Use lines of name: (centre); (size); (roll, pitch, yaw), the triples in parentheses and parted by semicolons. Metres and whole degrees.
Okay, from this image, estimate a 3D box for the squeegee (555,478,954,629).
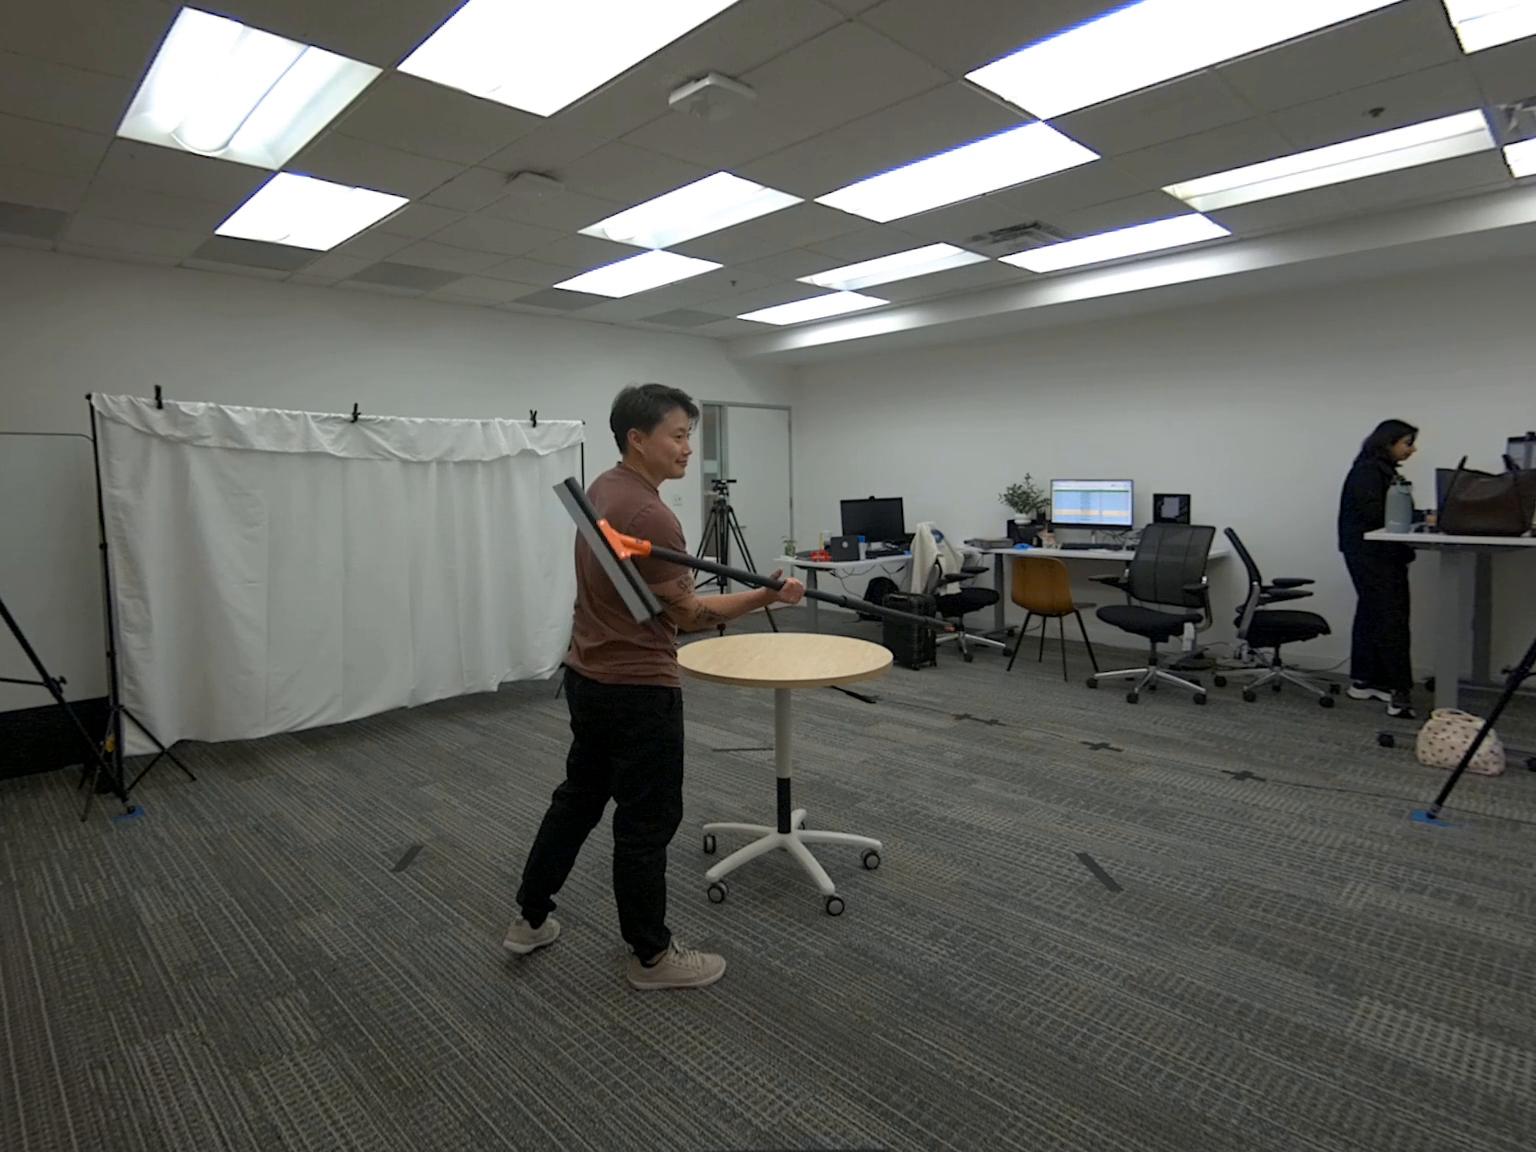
squeegee: (0.160, 0.050, 2.283); (1.484, 0.053, 0.454); (14, 34, -47)
